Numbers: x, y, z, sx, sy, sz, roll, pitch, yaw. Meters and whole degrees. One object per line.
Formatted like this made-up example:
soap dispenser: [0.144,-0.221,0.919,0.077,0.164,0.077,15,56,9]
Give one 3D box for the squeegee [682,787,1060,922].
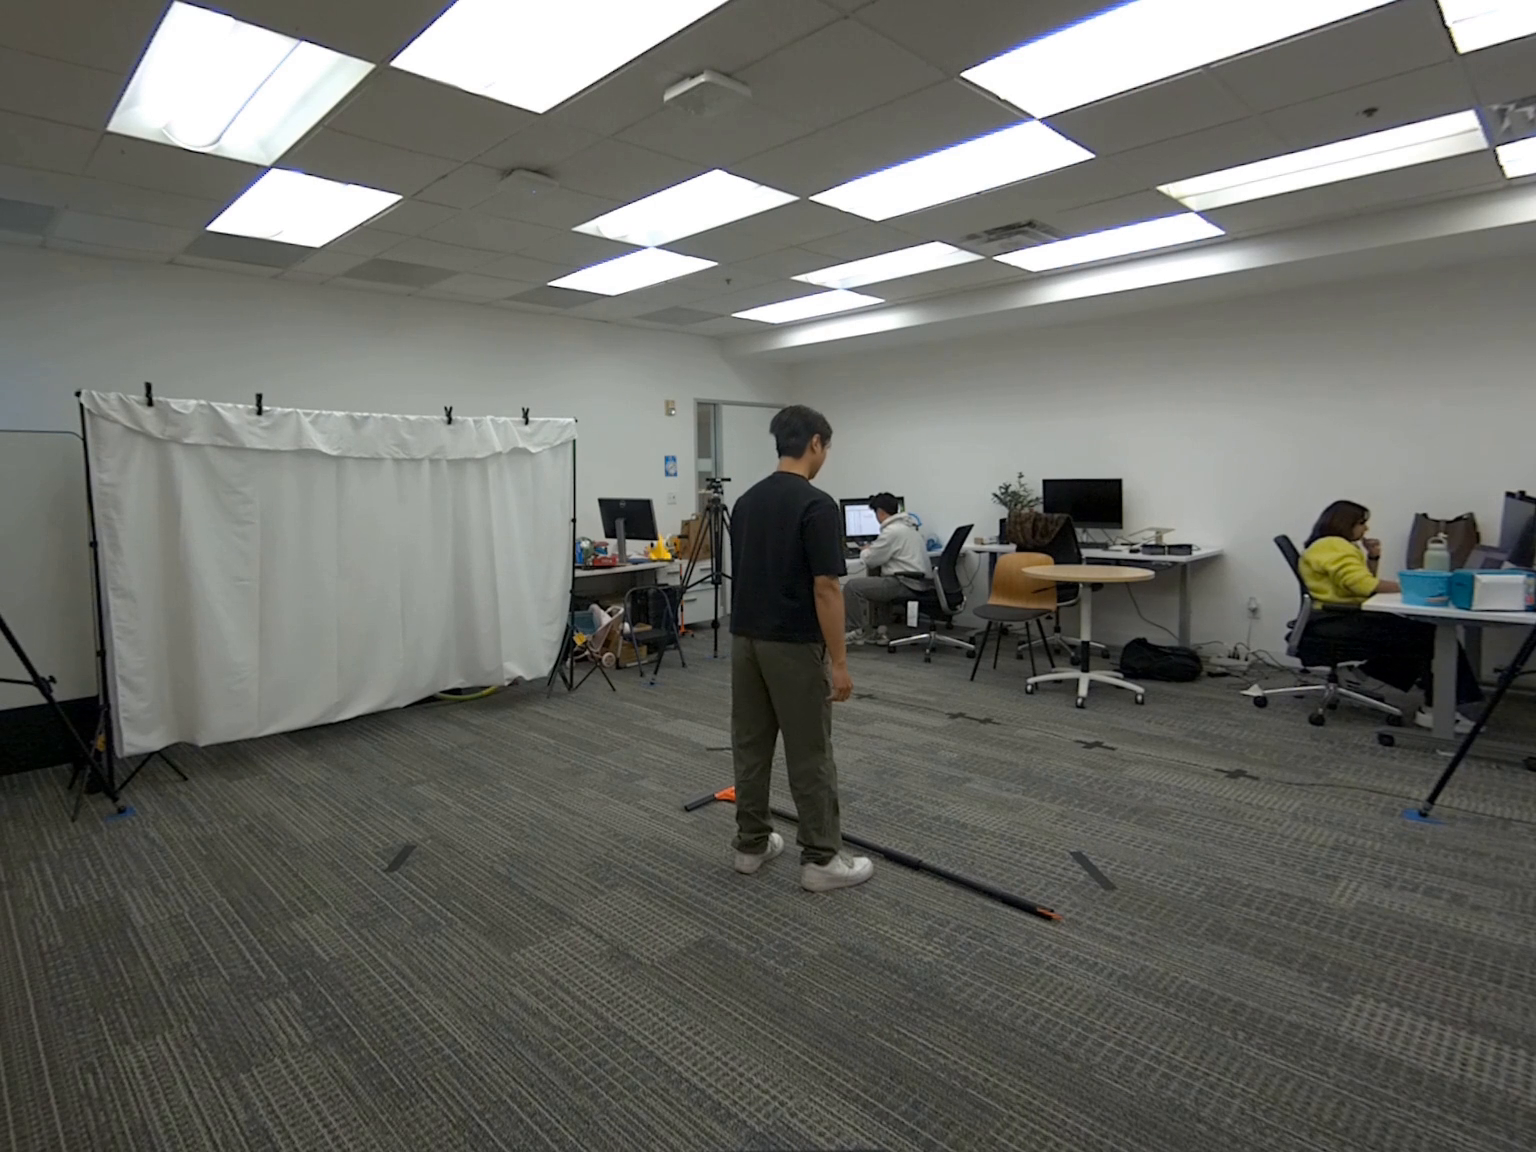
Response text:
squeegee: [0.340,0.986,3.207,1.586,0.052,0.427,6,12,45]
